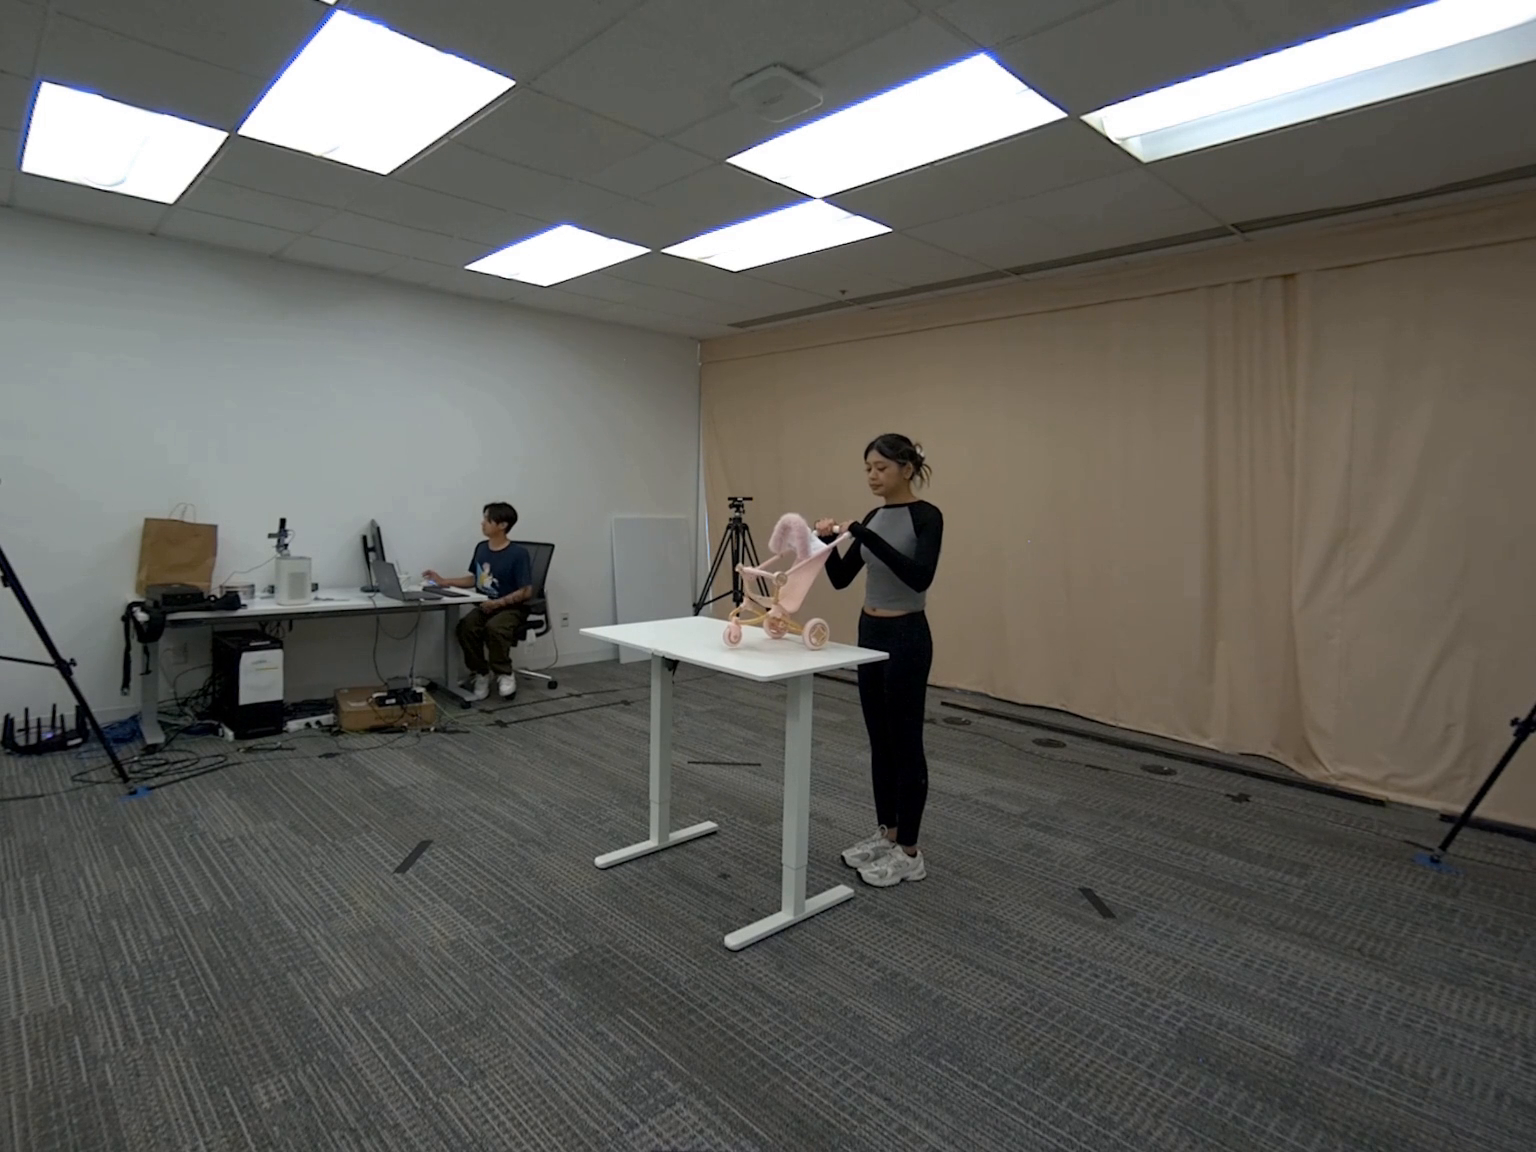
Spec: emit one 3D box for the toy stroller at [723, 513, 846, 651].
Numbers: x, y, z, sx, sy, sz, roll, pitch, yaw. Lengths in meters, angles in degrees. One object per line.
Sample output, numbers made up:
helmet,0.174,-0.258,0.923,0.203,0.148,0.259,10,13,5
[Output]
toy stroller,0.048,0.019,2.940,0.333,0.536,0.287,19,-4,-27
